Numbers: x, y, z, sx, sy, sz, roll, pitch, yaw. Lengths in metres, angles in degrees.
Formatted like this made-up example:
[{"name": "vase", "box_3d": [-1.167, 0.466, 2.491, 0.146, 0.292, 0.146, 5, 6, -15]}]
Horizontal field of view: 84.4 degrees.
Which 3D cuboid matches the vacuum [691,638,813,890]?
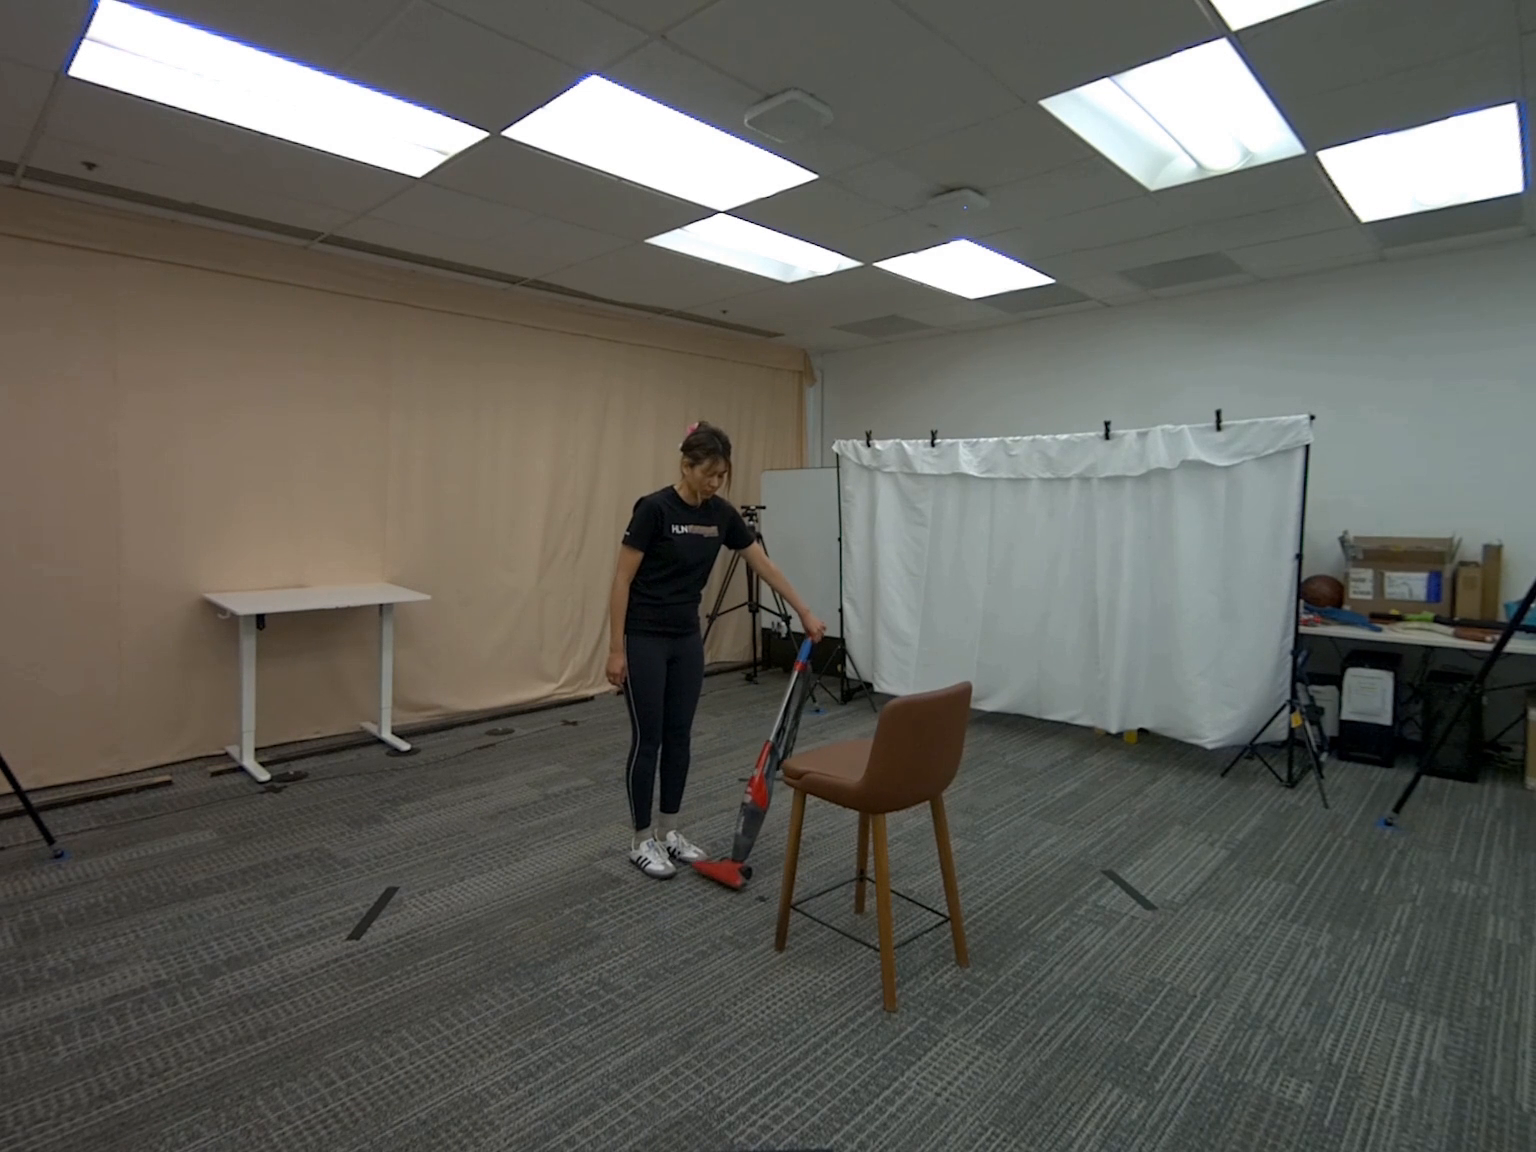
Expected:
[{"name": "vacuum", "box_3d": [0.042, 0.667, 3.308, 0.261, 1.051, 0.139, 3, -29, 45]}]
